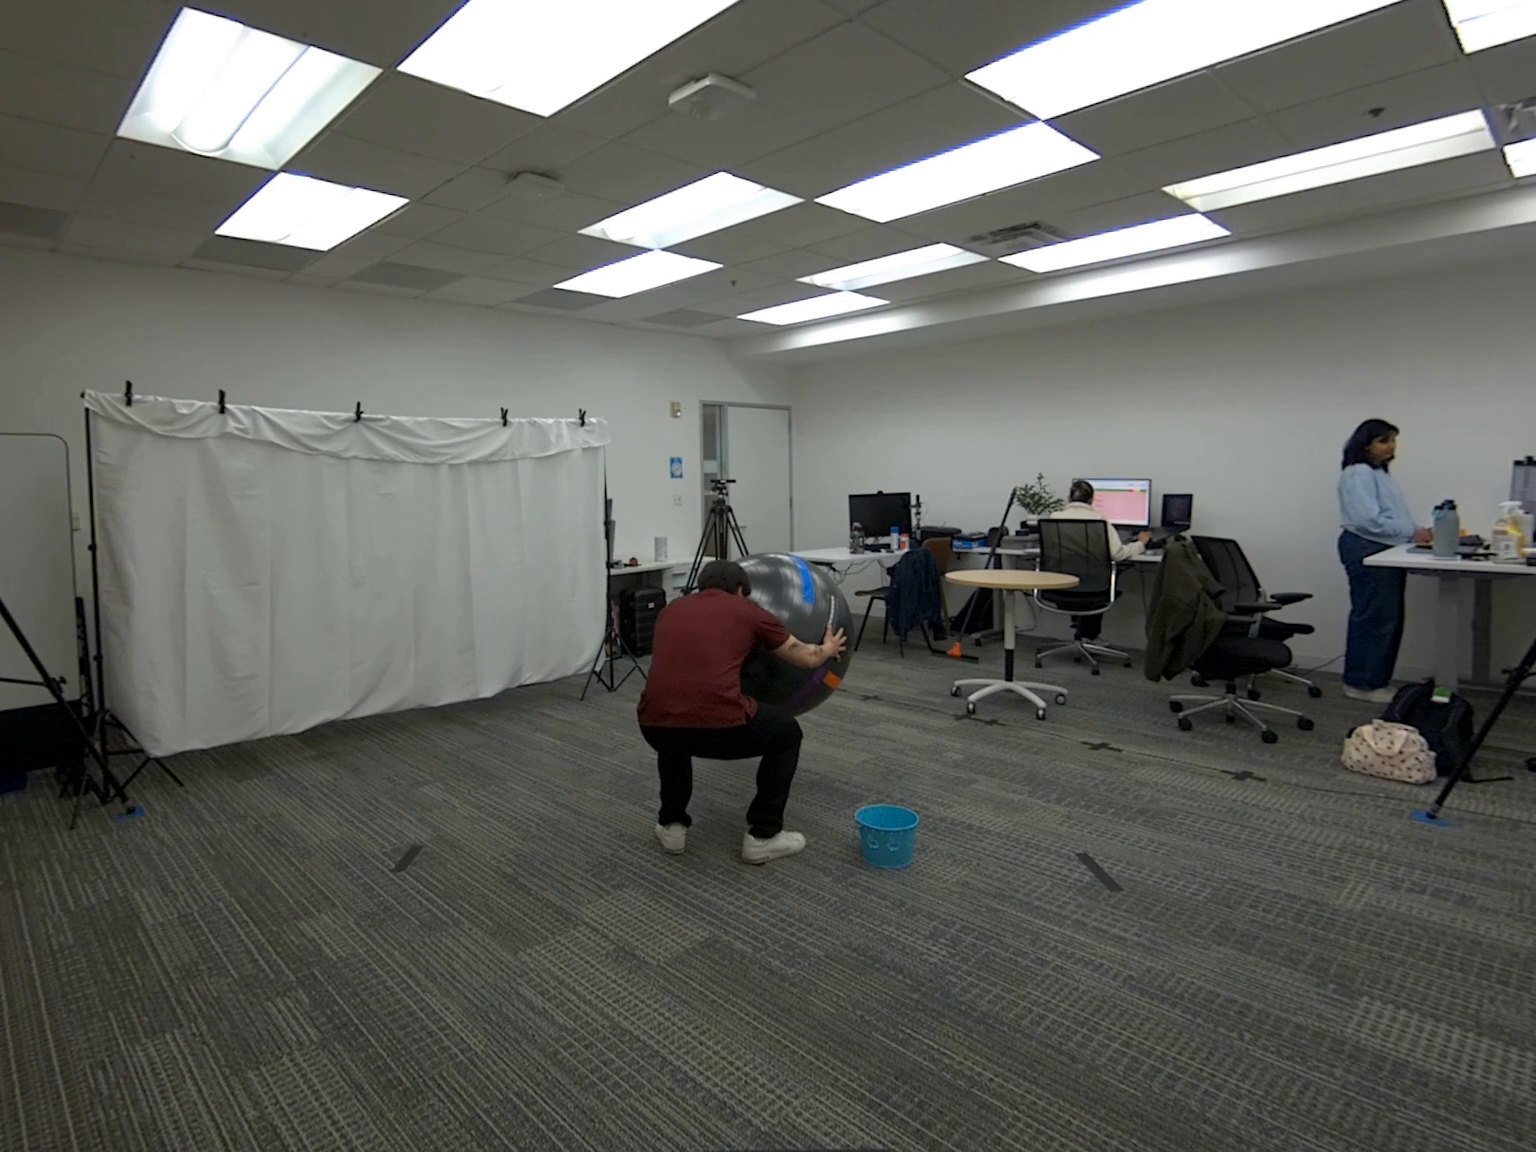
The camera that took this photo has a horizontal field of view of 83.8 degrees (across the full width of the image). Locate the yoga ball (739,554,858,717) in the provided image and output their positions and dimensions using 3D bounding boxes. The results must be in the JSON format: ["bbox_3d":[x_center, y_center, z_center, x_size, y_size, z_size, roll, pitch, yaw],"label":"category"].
[{"bbox_3d":[0.006,0.266,3.916,0.757,0.755,0.762,-1,5,-2],"label":"yoga ball"}]
